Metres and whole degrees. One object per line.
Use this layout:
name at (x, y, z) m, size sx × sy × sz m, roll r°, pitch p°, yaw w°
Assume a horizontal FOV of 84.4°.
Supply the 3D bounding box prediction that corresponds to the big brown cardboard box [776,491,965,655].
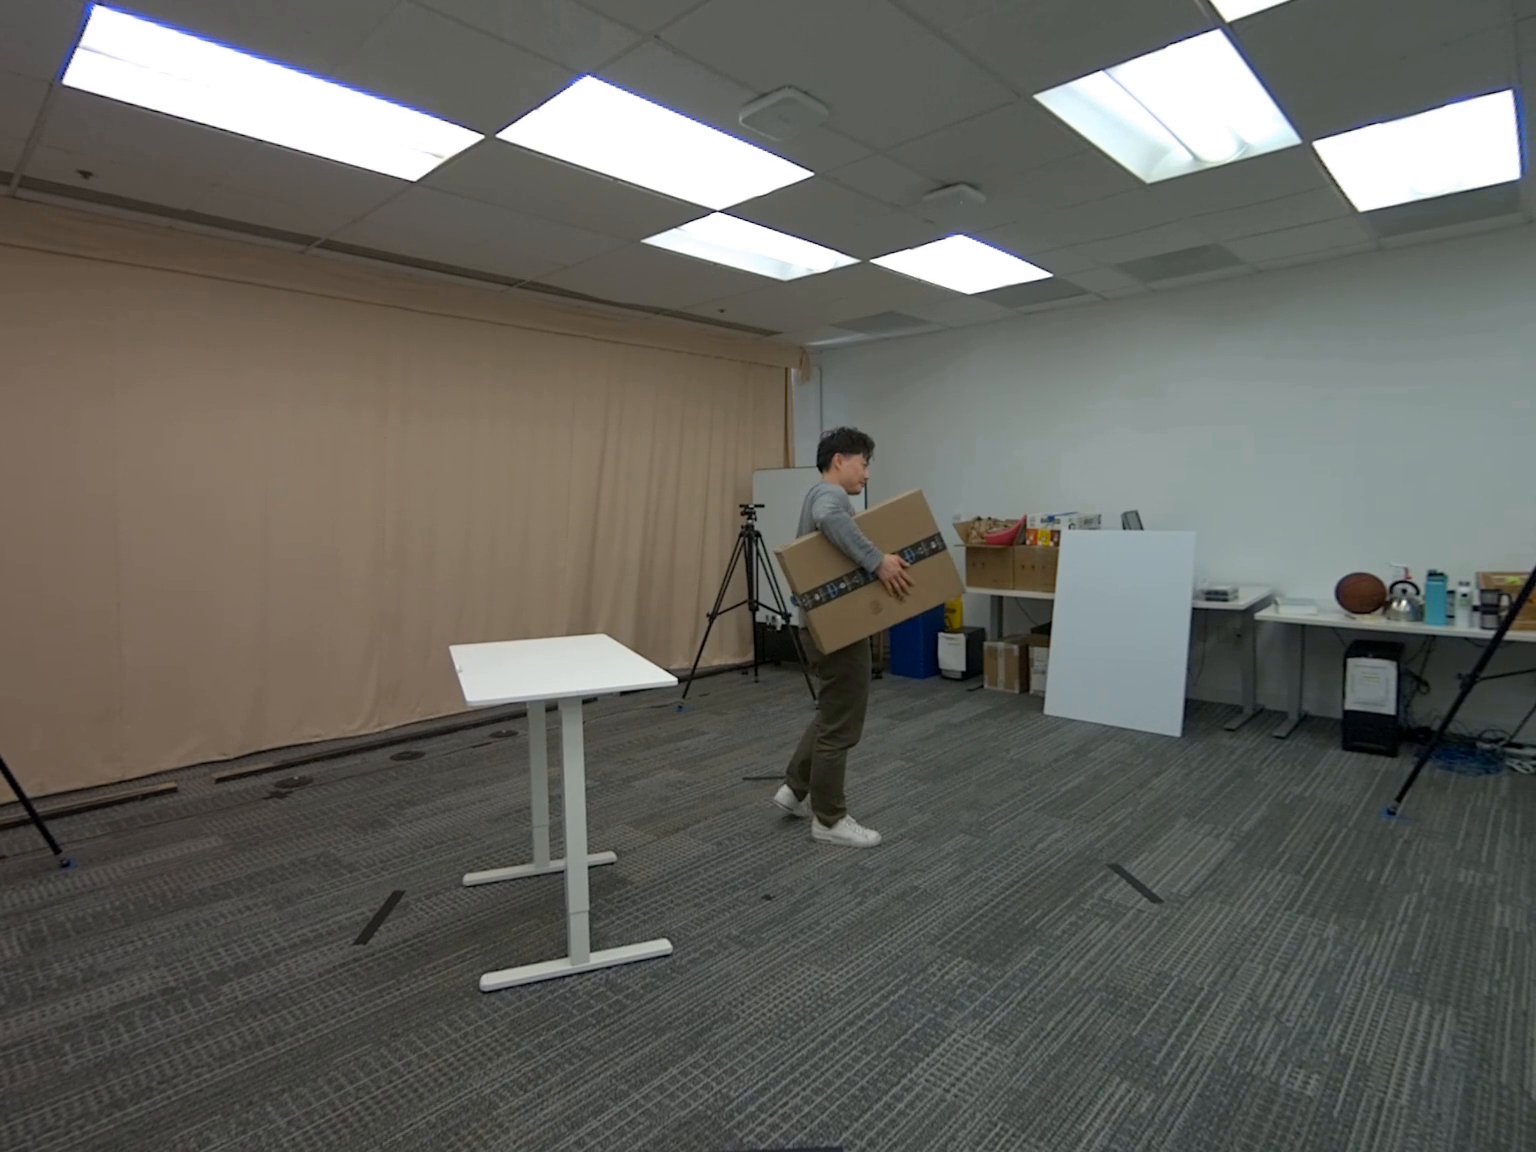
big brown cardboard box at (0.367, -0.012, 3.162) m, size 0.588 × 0.417 × 0.233 m, roll -23°, pitch 2°, yaw -1°
